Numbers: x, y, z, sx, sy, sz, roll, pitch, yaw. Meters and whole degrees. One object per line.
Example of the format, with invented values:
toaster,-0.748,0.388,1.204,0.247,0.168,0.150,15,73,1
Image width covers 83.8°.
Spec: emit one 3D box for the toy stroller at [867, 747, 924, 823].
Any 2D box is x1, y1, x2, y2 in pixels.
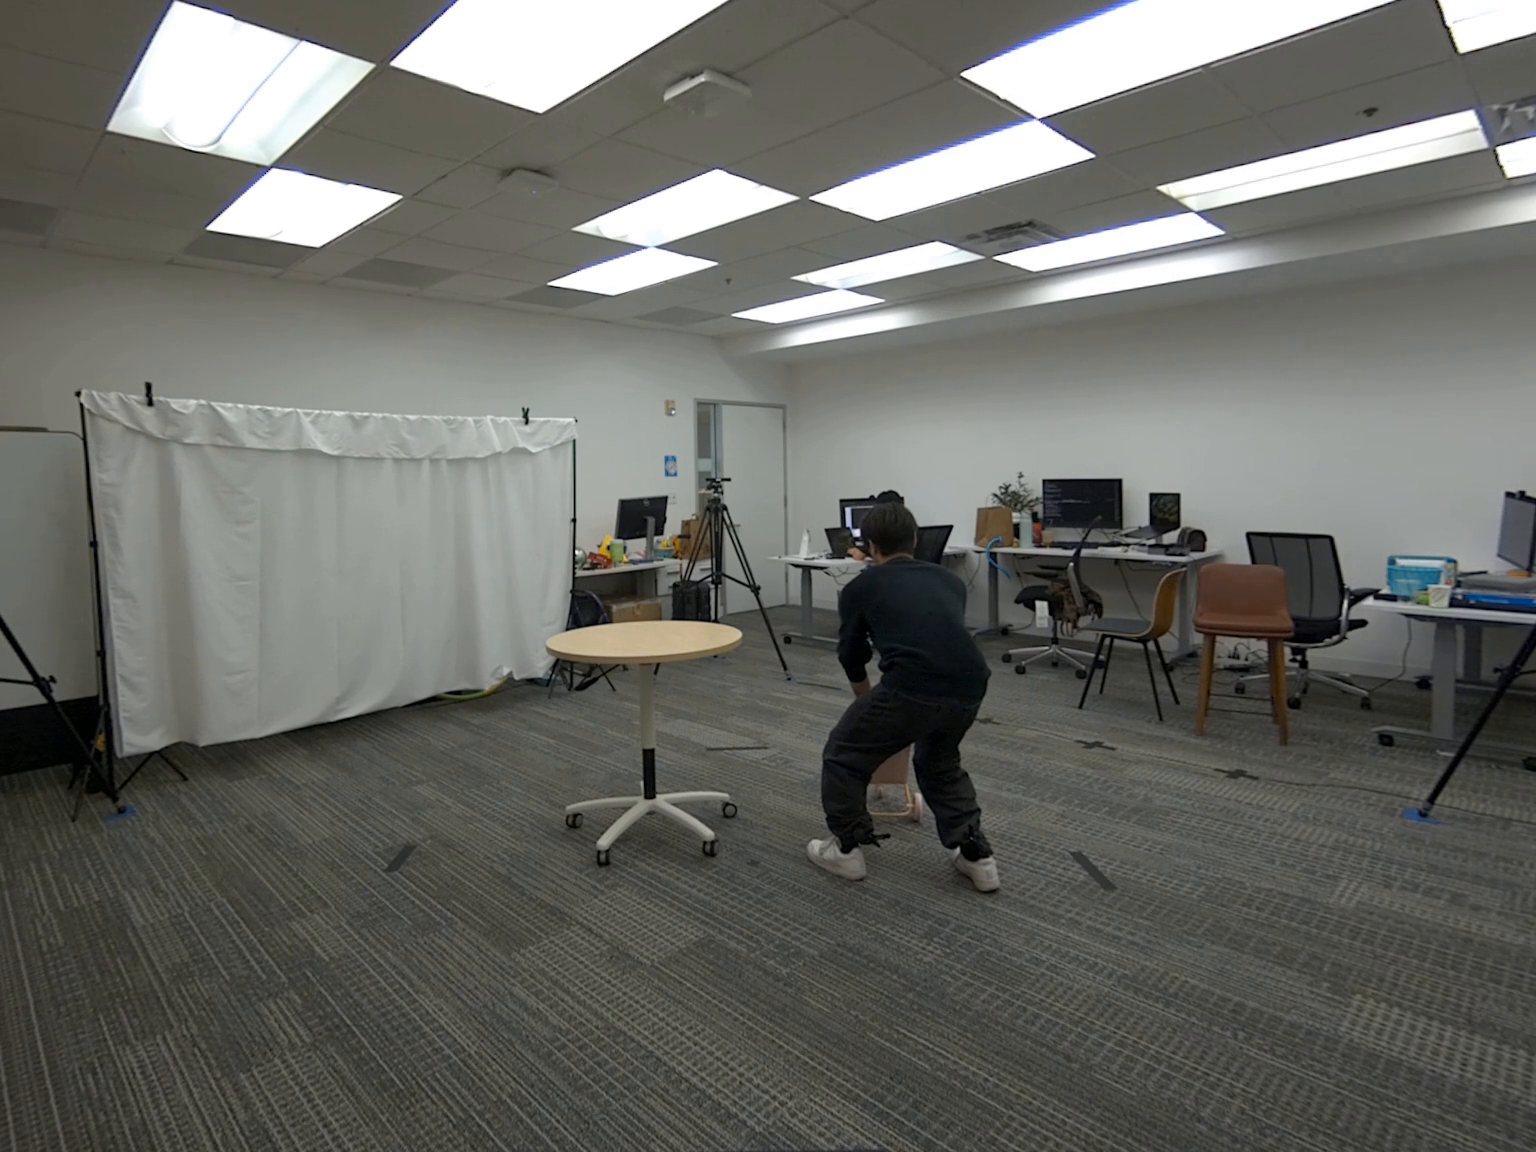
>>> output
toy stroller,0.490,0.763,3.527,0.283,0.526,0.345,0,20,5
